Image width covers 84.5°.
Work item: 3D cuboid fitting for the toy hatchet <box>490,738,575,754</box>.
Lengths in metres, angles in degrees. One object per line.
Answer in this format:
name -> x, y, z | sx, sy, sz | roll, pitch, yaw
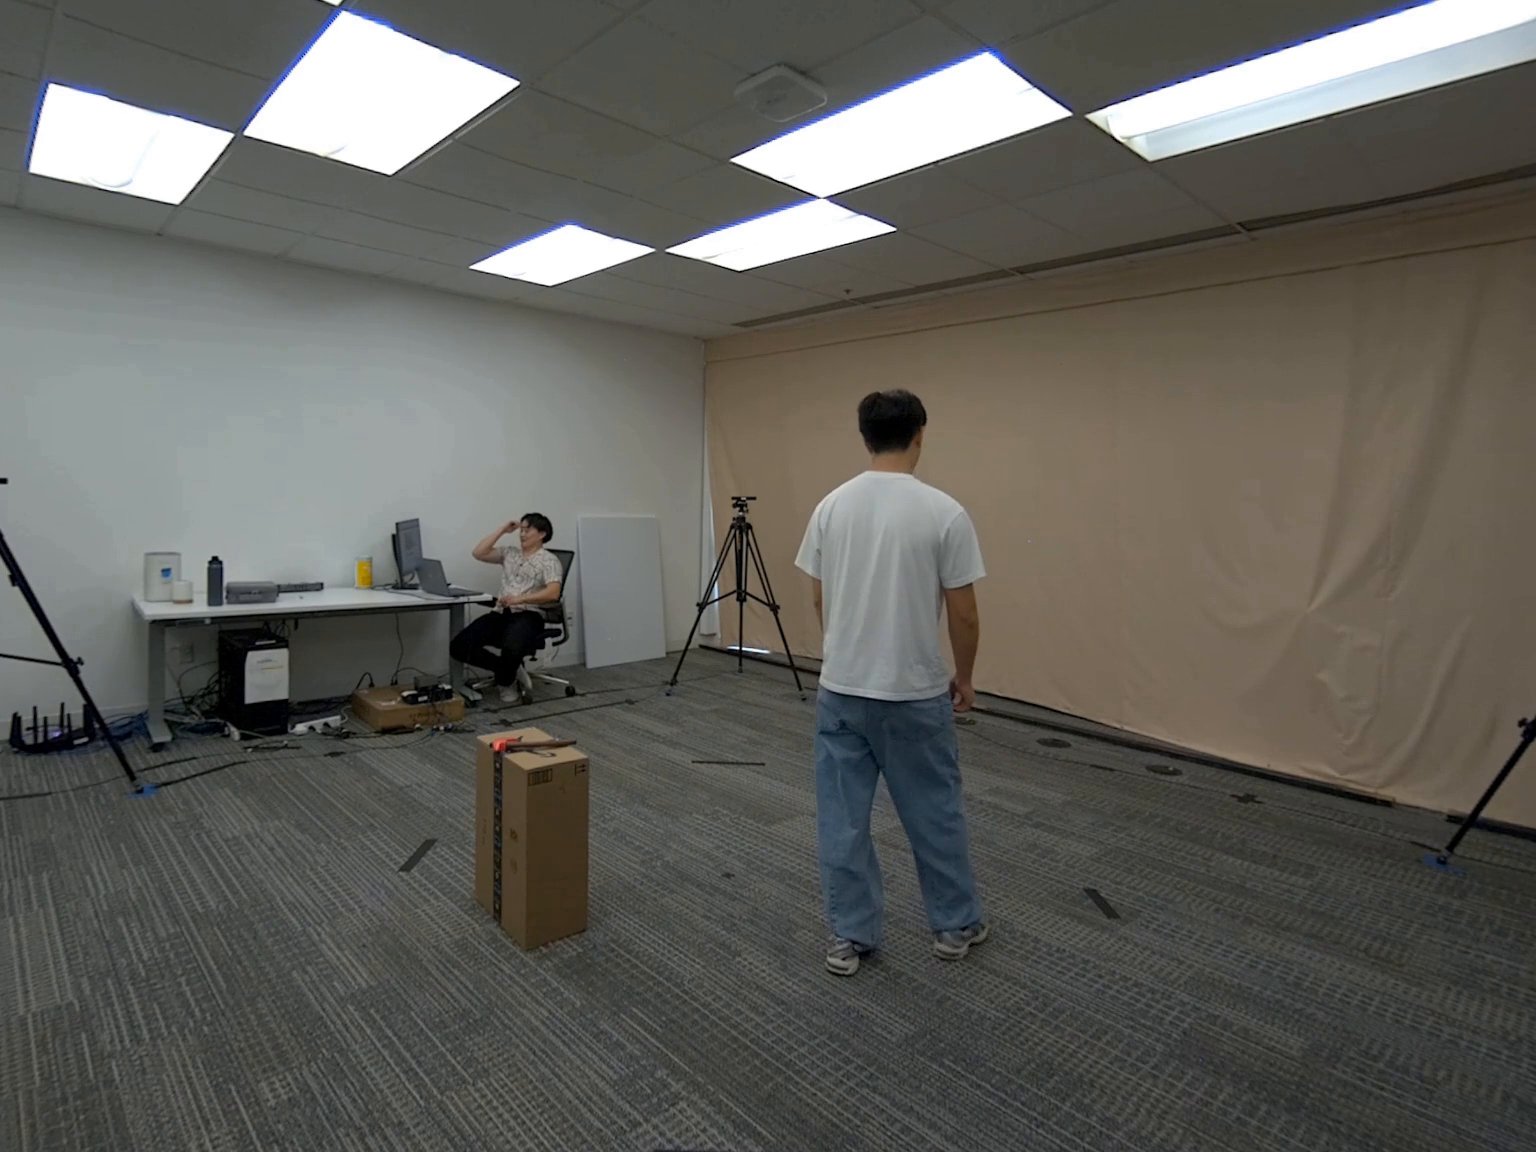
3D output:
toy hatchet -> -0.776, 0.543, 2.767 | 0.265, 0.029, 0.134 | 0, 2, -28
